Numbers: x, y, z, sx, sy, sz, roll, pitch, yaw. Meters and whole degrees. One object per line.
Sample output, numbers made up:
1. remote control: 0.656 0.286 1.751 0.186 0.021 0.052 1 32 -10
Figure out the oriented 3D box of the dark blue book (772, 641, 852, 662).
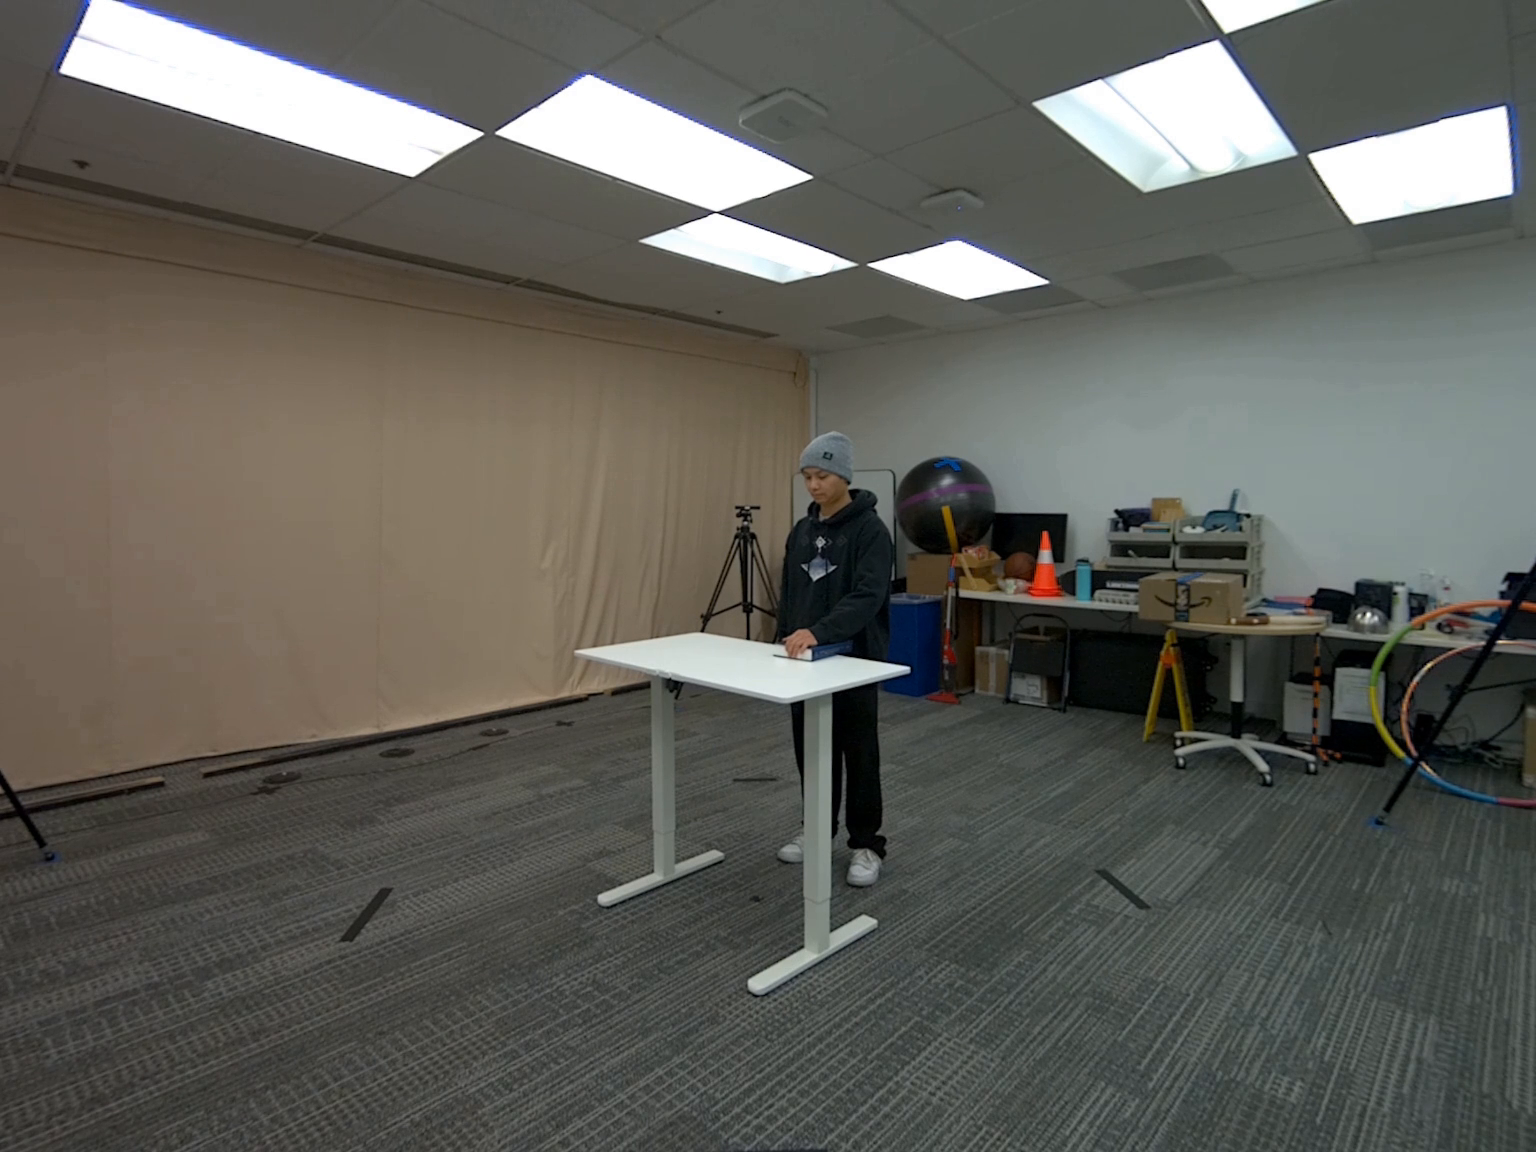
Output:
1. dark blue book: 0.161 0.248 2.908 0.169 0.045 0.238 5 8 38
